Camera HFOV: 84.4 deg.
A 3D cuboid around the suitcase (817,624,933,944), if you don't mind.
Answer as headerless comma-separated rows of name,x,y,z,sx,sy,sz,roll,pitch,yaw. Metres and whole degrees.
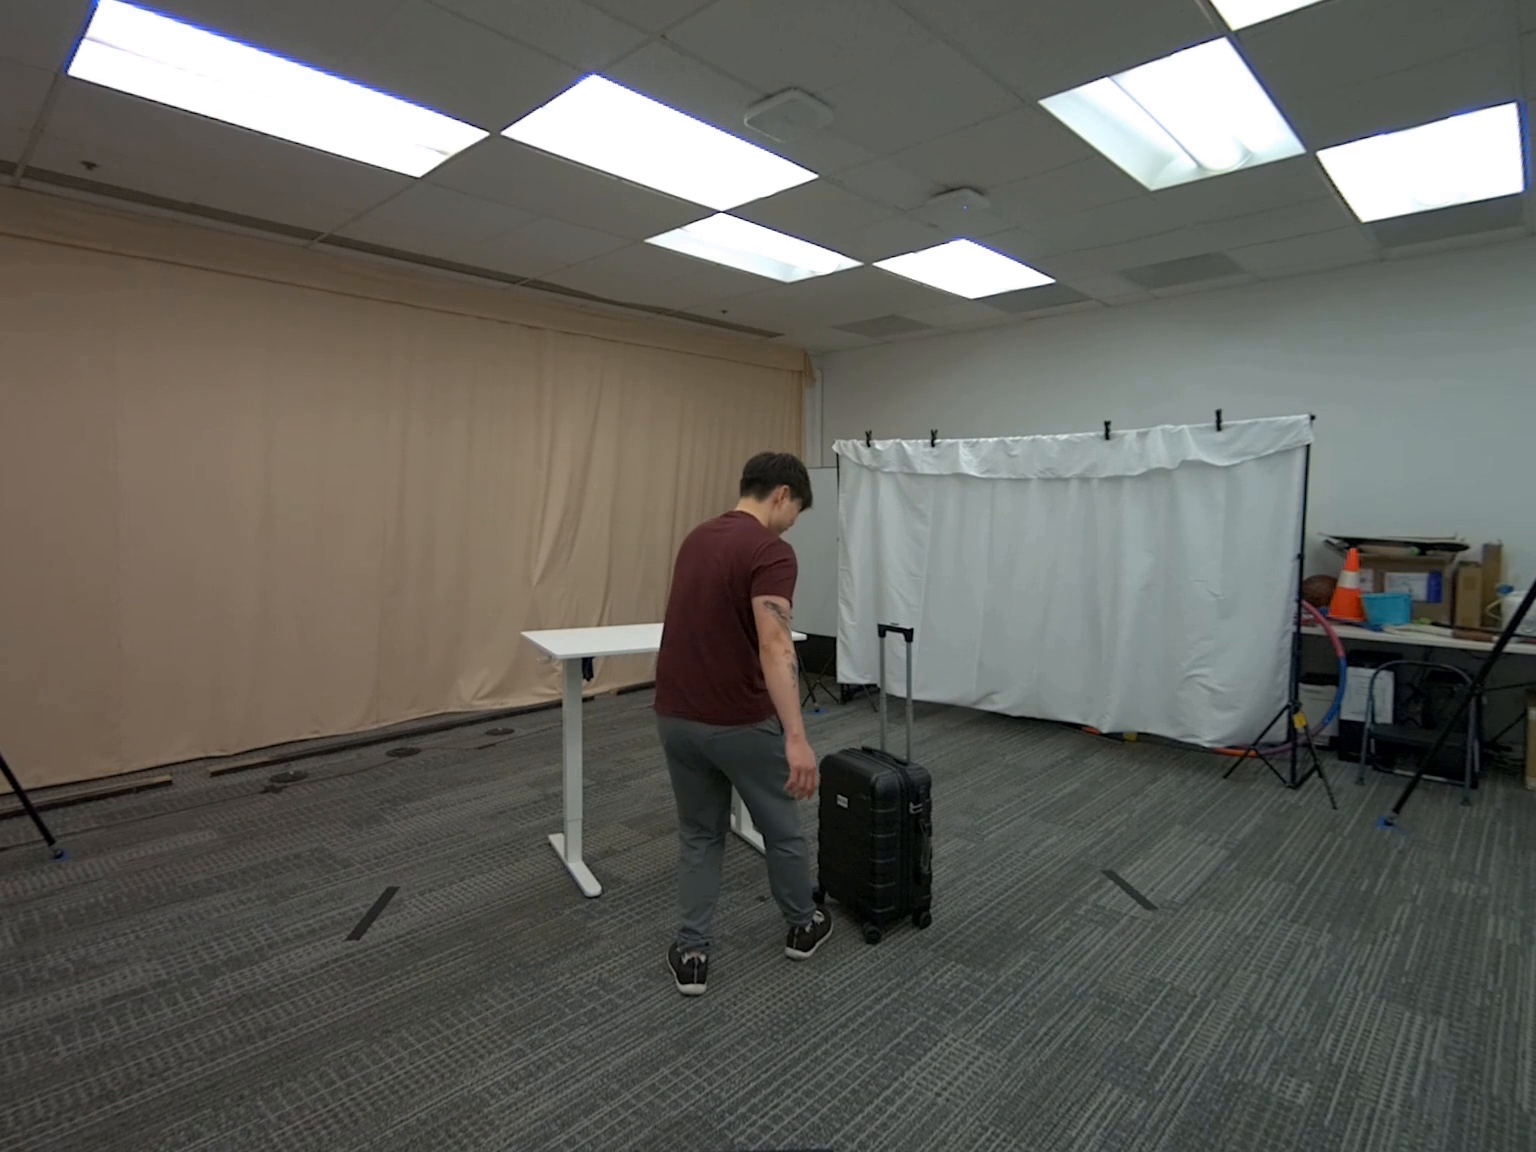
suitcase,0.362,0.673,2.843,0.251,0.976,0.394,-4,4,-27
